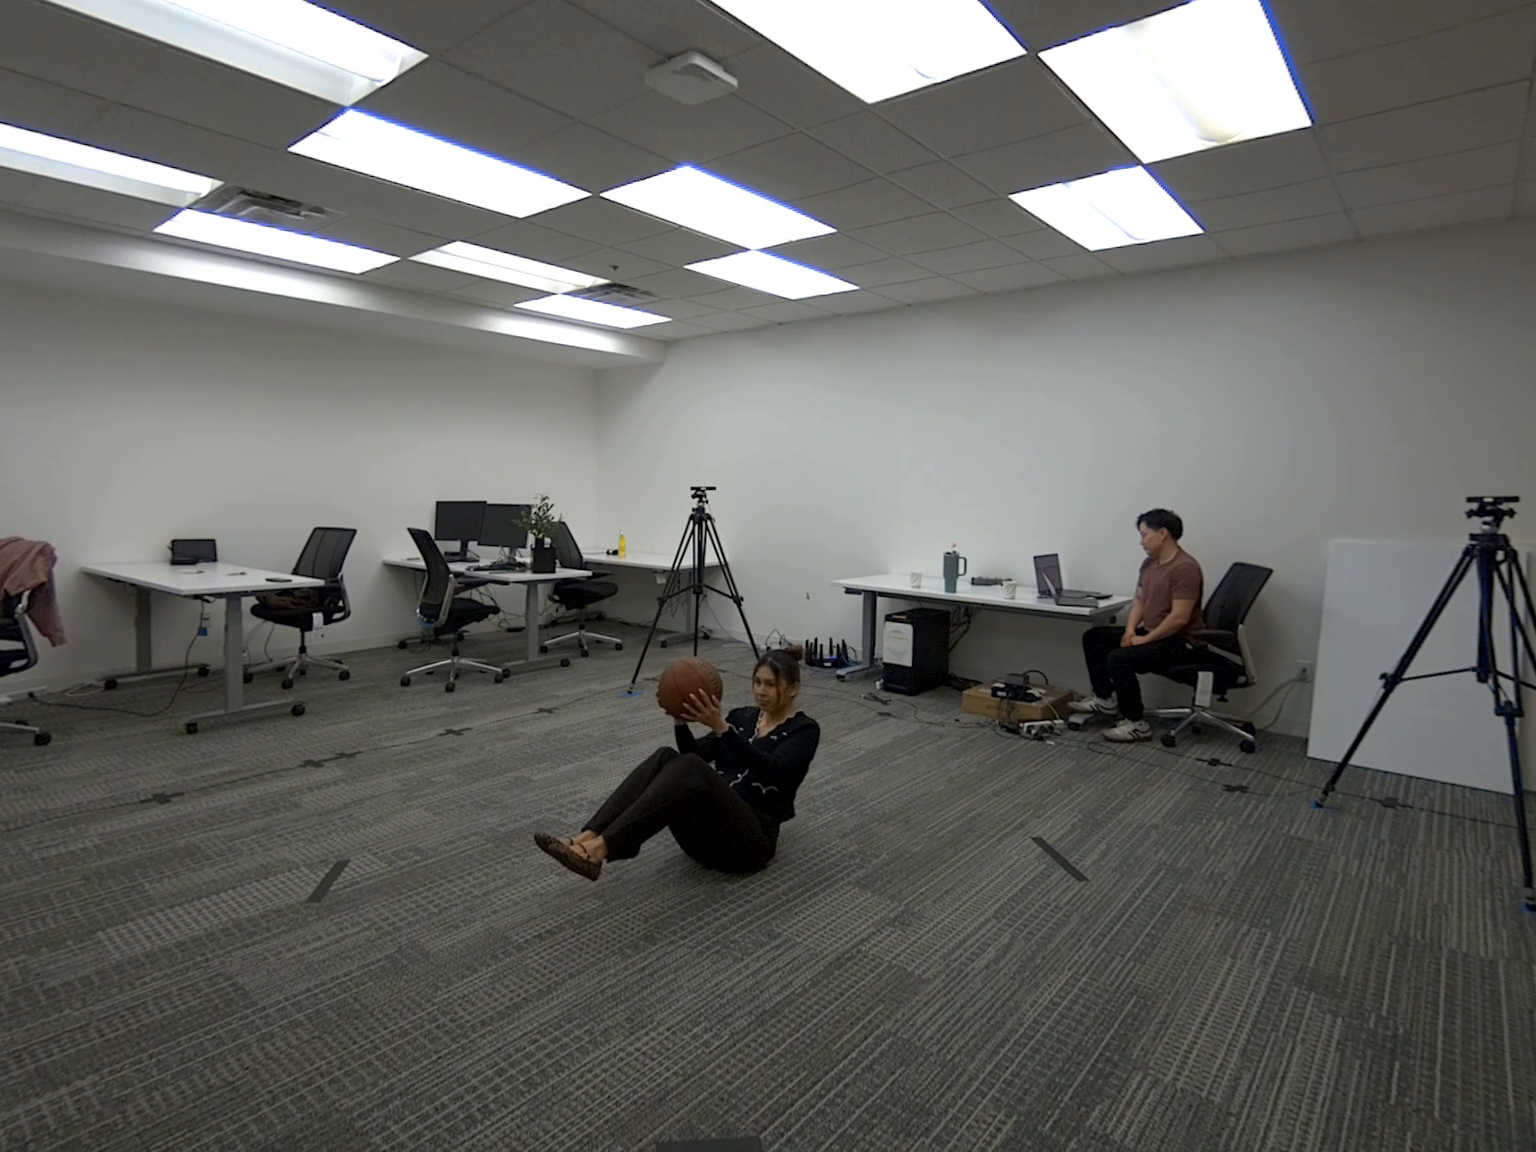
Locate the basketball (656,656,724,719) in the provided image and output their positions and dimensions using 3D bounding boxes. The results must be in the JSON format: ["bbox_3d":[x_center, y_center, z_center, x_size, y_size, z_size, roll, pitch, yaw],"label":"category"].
[{"bbox_3d":[-0.290,0.428,3.108,0.235,0.235,0.237,1,4,-2],"label":"basketball"}]
